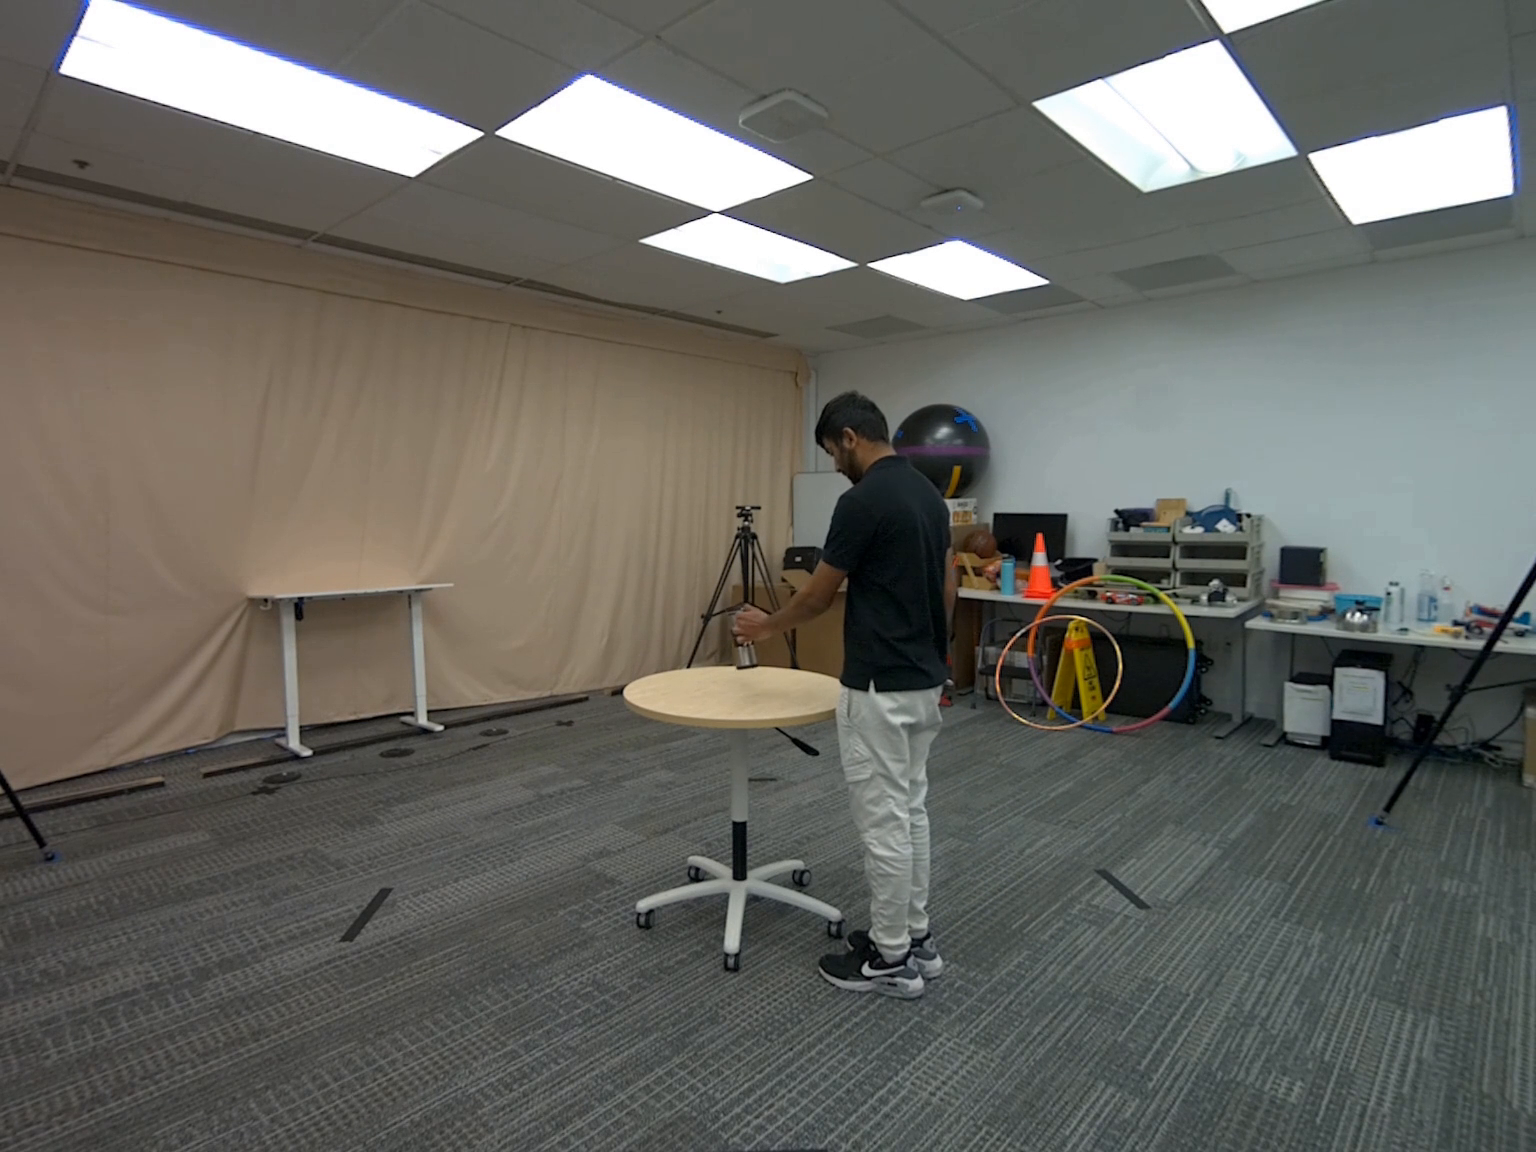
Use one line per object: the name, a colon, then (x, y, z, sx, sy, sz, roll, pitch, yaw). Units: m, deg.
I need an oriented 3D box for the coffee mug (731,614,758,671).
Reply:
coffee mug: (-0.080, 0.203, 2.714, 0.089, 0.204, 0.119, -8, -6, 18)
